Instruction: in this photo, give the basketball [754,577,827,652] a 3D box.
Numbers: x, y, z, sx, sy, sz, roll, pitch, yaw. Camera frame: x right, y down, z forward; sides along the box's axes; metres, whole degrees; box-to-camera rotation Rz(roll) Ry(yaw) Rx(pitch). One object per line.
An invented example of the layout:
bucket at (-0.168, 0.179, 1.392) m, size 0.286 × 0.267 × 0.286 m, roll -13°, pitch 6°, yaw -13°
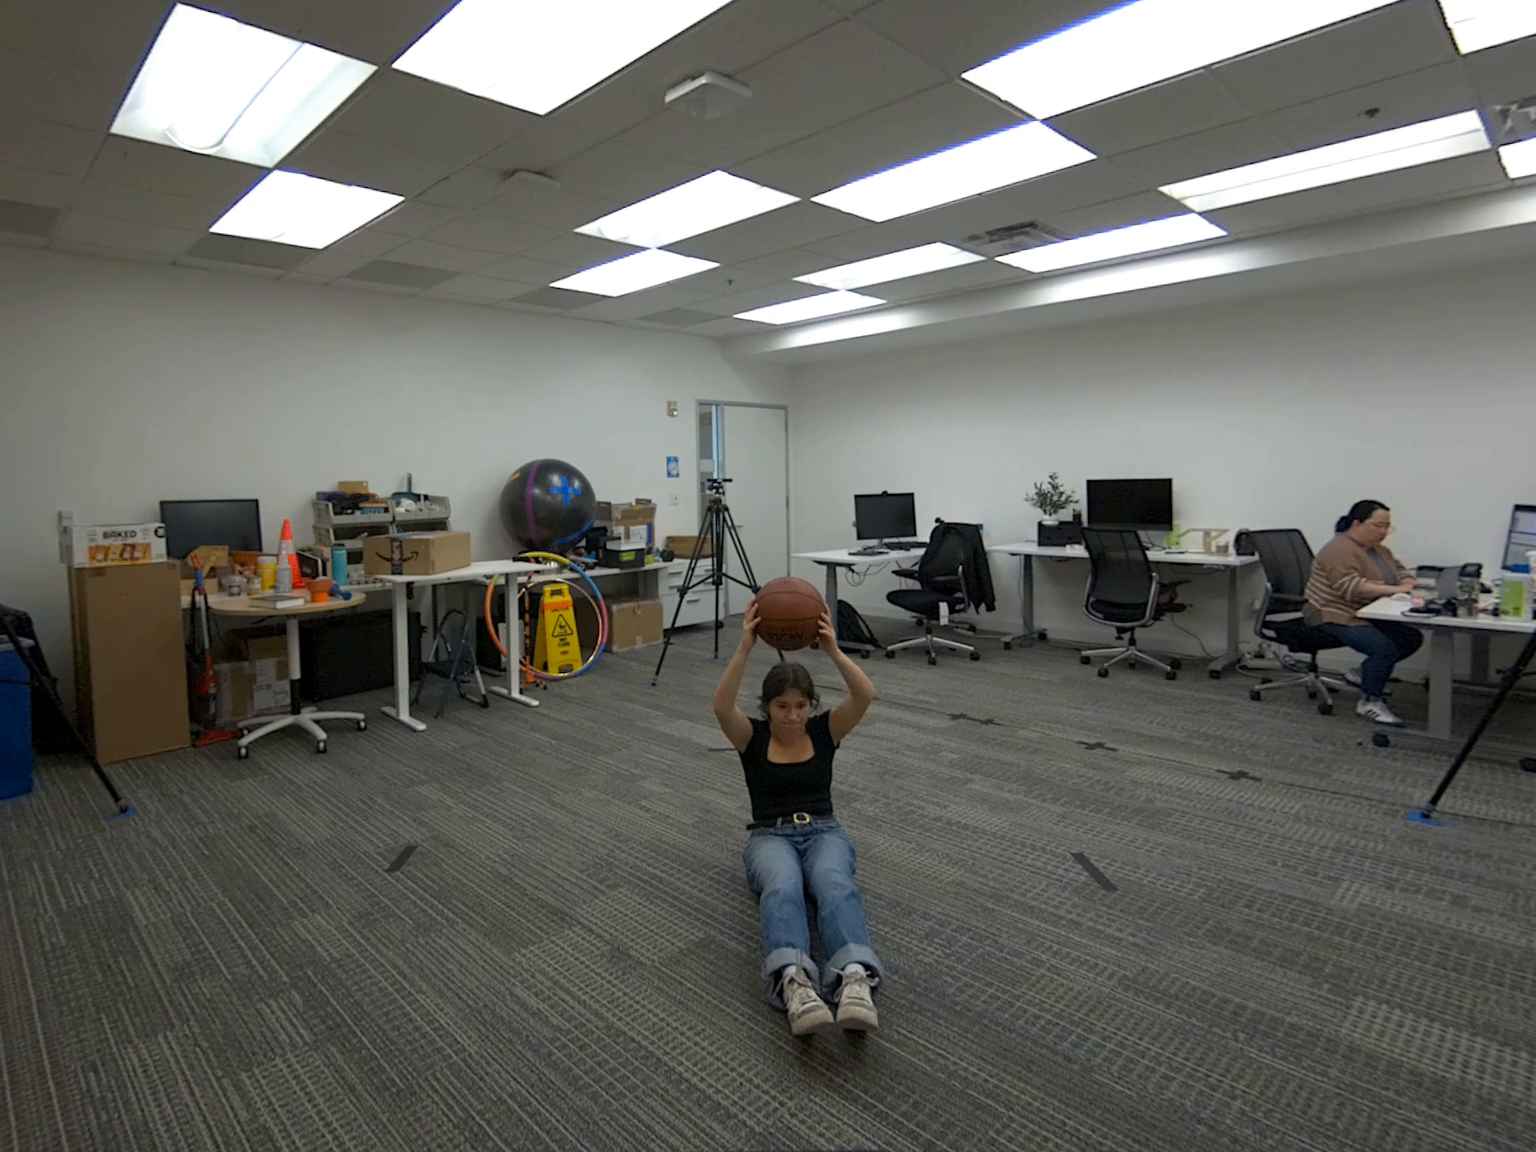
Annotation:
basketball at (0.068, 0.123, 2.755) m, size 0.236 × 0.235 × 0.237 m, roll -1°, pitch 5°, yaw -2°
